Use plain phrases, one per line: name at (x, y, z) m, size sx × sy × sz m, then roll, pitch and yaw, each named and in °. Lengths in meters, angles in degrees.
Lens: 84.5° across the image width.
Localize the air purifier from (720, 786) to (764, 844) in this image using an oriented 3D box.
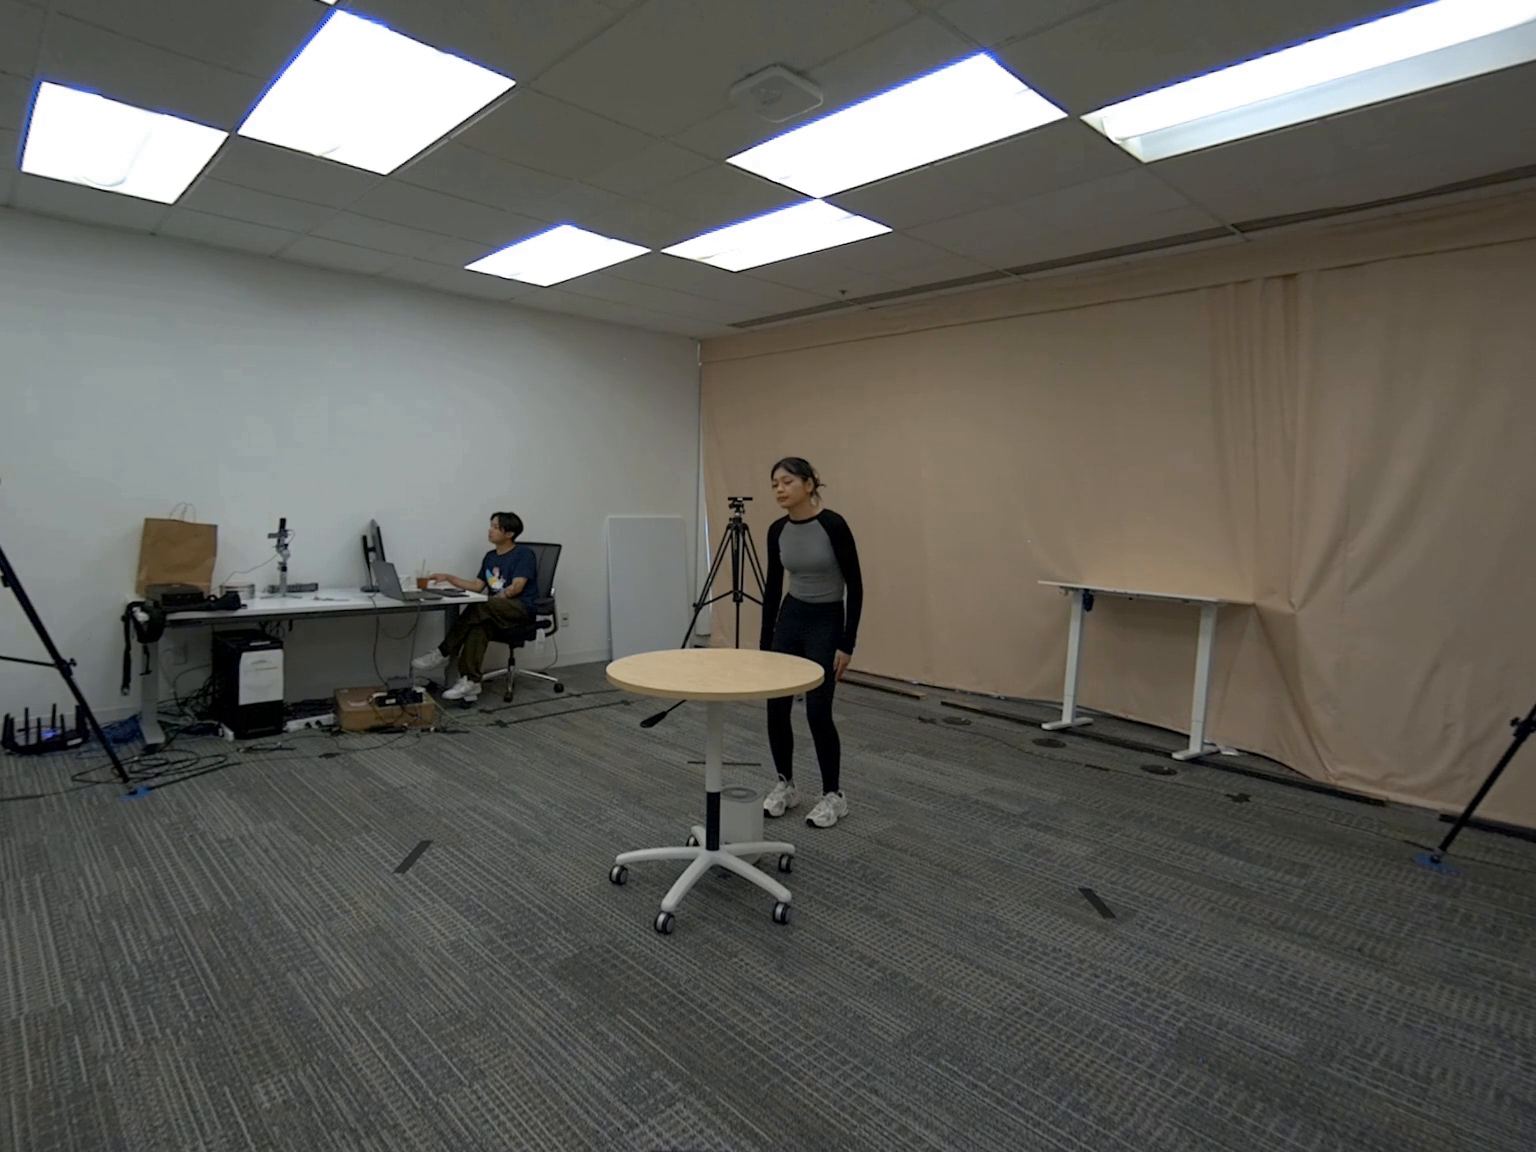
air purifier at (-0.123, 0.960, 3.232) m, size 0.174 × 0.265 × 0.169 m, roll 3°, pitch 4°, yaw 25°
